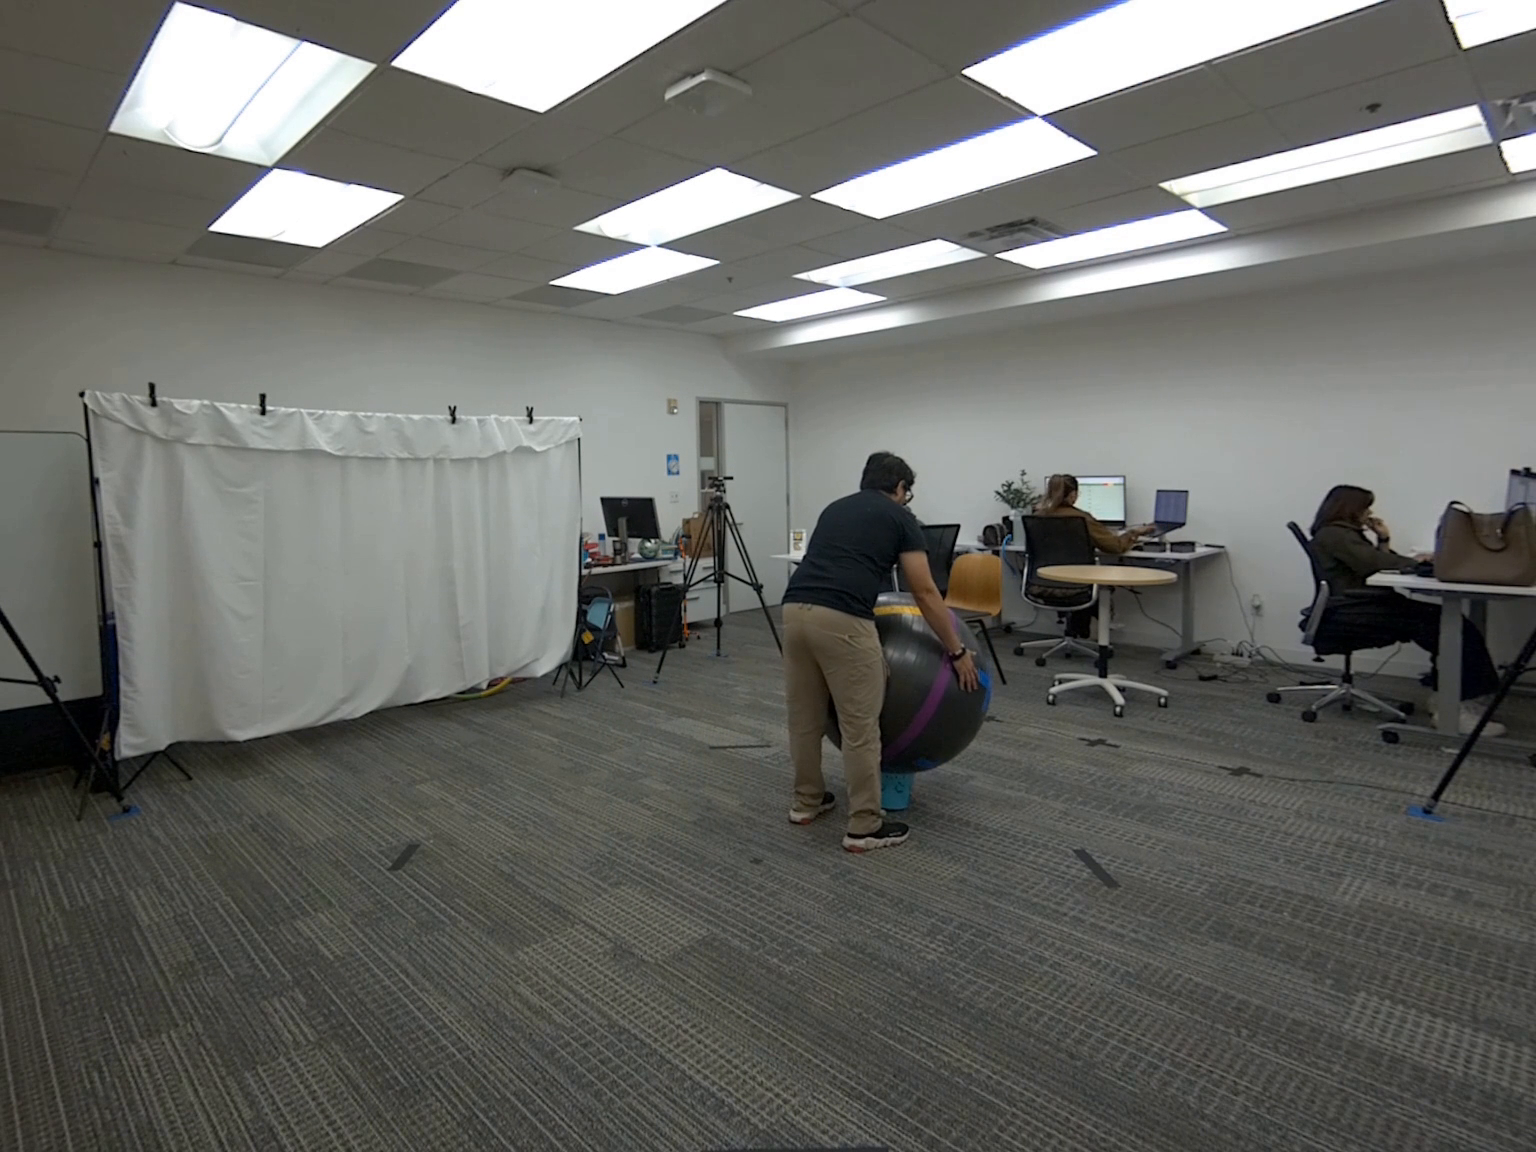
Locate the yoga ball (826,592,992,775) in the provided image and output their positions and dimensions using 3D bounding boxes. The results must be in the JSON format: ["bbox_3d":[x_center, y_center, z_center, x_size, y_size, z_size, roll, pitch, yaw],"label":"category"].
[{"bbox_3d":[0.554,0.455,3.633,0.757,0.755,0.762,-1,5,-2],"label":"yoga ball"}]
